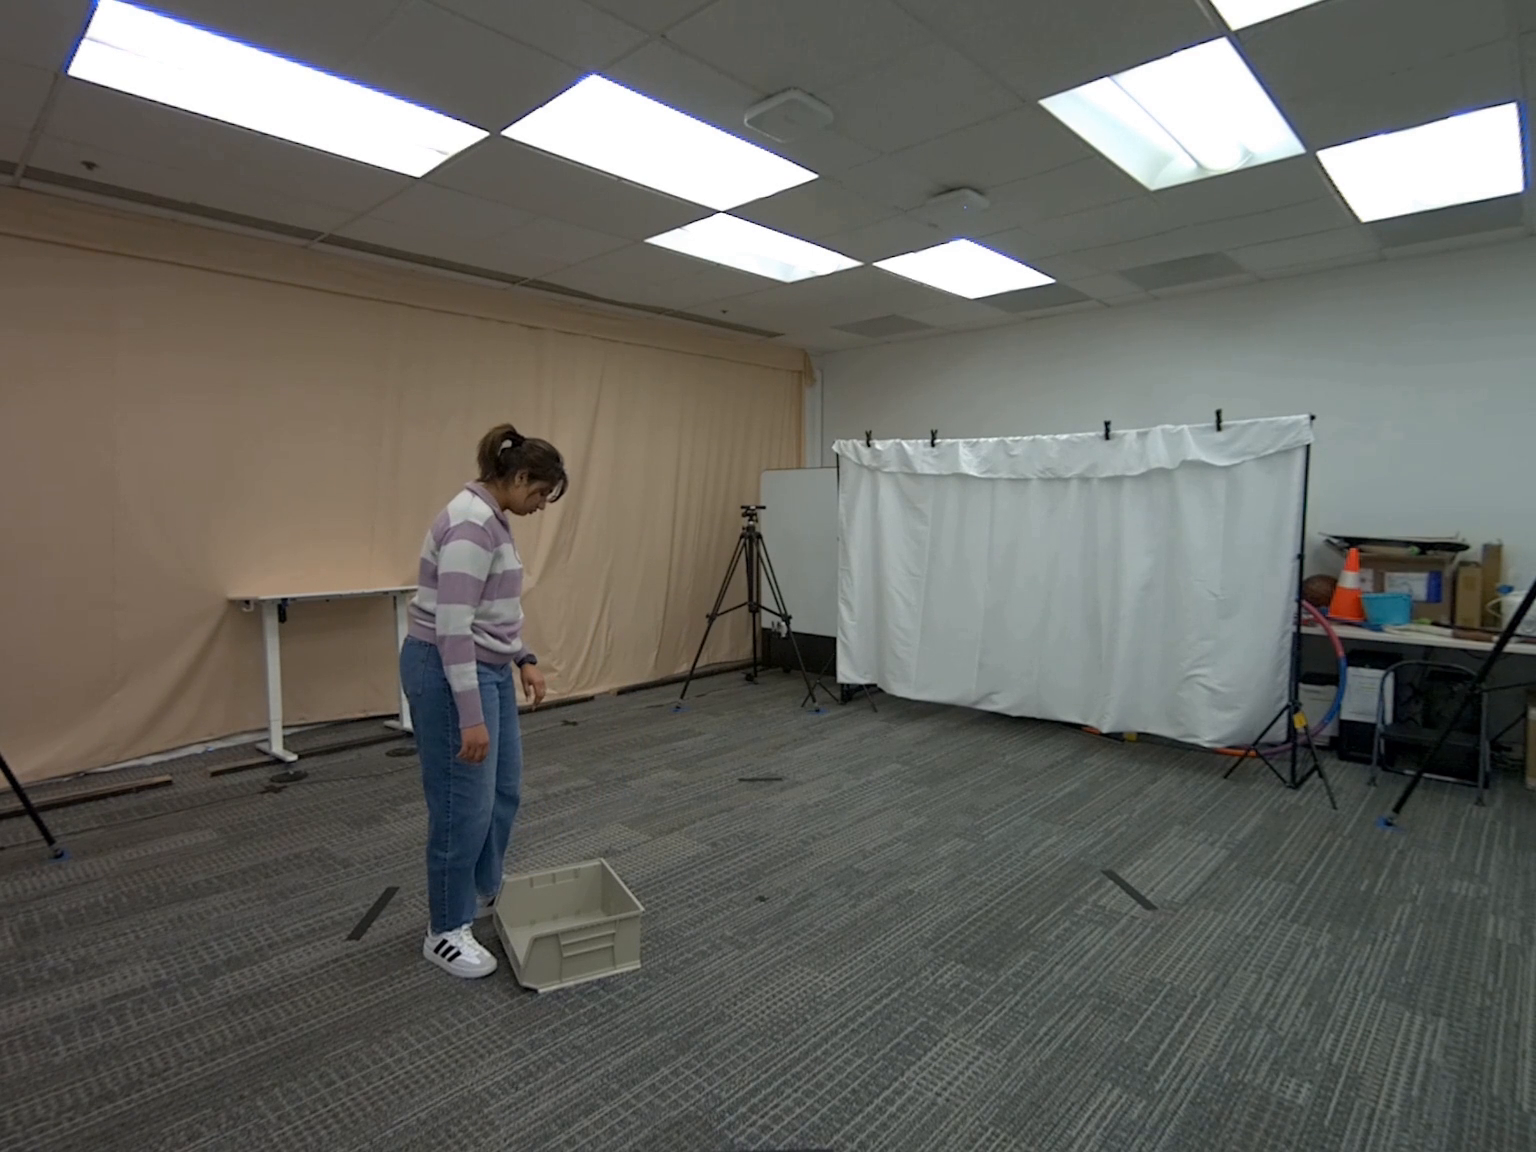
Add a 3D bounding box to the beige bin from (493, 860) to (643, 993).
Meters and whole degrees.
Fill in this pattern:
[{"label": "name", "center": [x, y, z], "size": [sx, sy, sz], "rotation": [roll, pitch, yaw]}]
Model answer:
[{"label": "beige bin", "center": [-0.638, 1.091, 2.636], "size": [0.368, 0.188, 0.434], "rotation": [-1, 4, -28]}]
